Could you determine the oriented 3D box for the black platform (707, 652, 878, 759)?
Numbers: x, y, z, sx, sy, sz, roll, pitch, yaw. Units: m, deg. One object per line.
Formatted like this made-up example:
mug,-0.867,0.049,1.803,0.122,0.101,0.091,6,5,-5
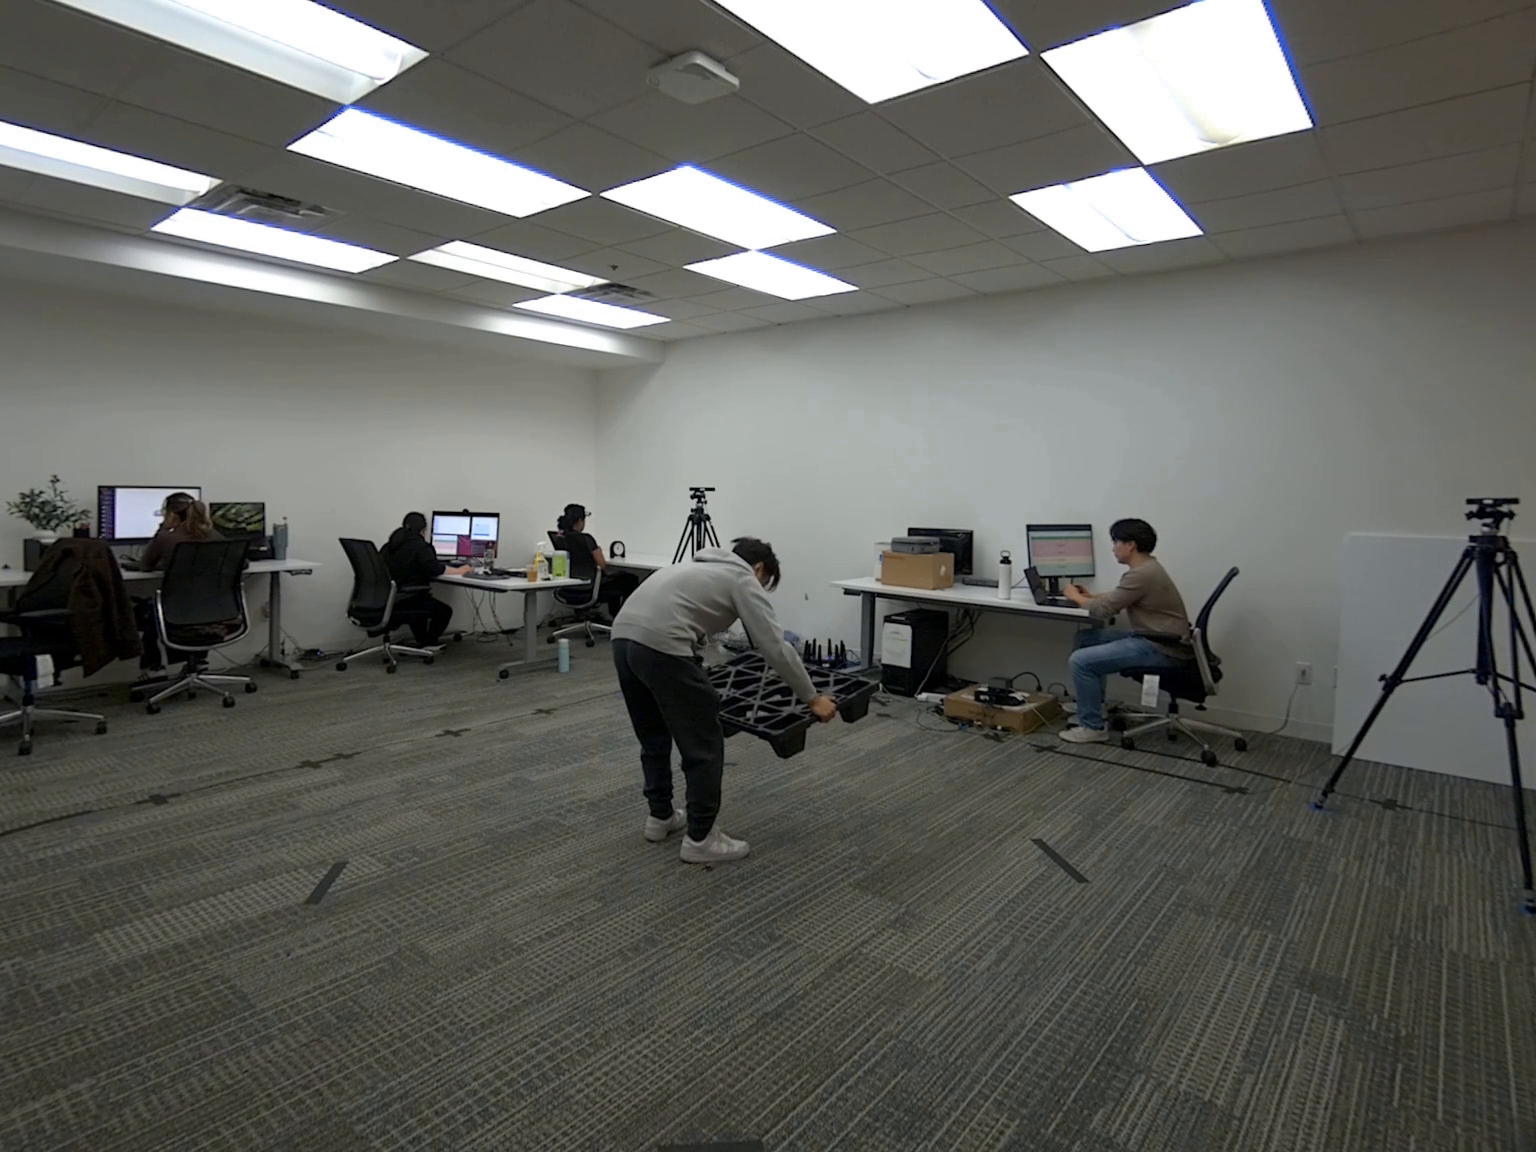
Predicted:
black platform,-0.032,0.524,3.572,0.593,0.141,0.833,-20,17,-39
